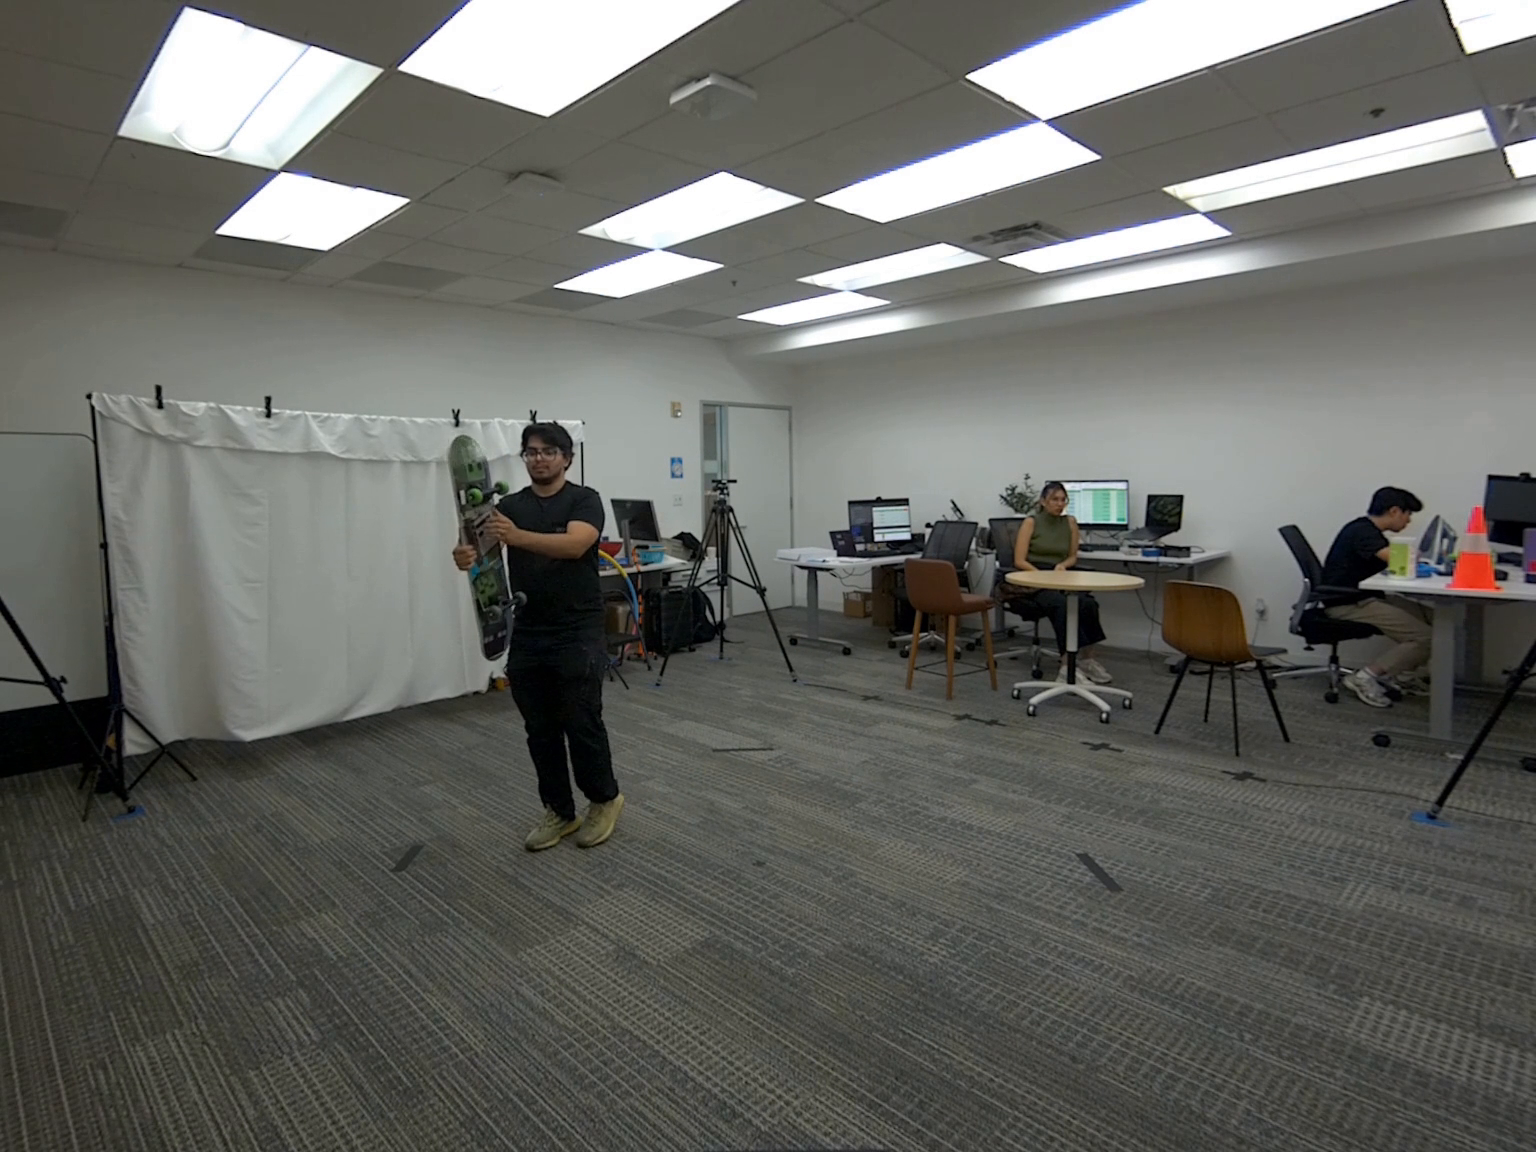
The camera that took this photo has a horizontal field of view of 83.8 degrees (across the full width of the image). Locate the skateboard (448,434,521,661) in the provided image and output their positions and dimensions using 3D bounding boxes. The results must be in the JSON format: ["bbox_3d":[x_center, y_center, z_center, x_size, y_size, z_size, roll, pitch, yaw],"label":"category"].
[{"bbox_3d":[-0.941,-0.078,2.893,0.112,0.775,0.192,0,14,19],"label":"skateboard"}]
